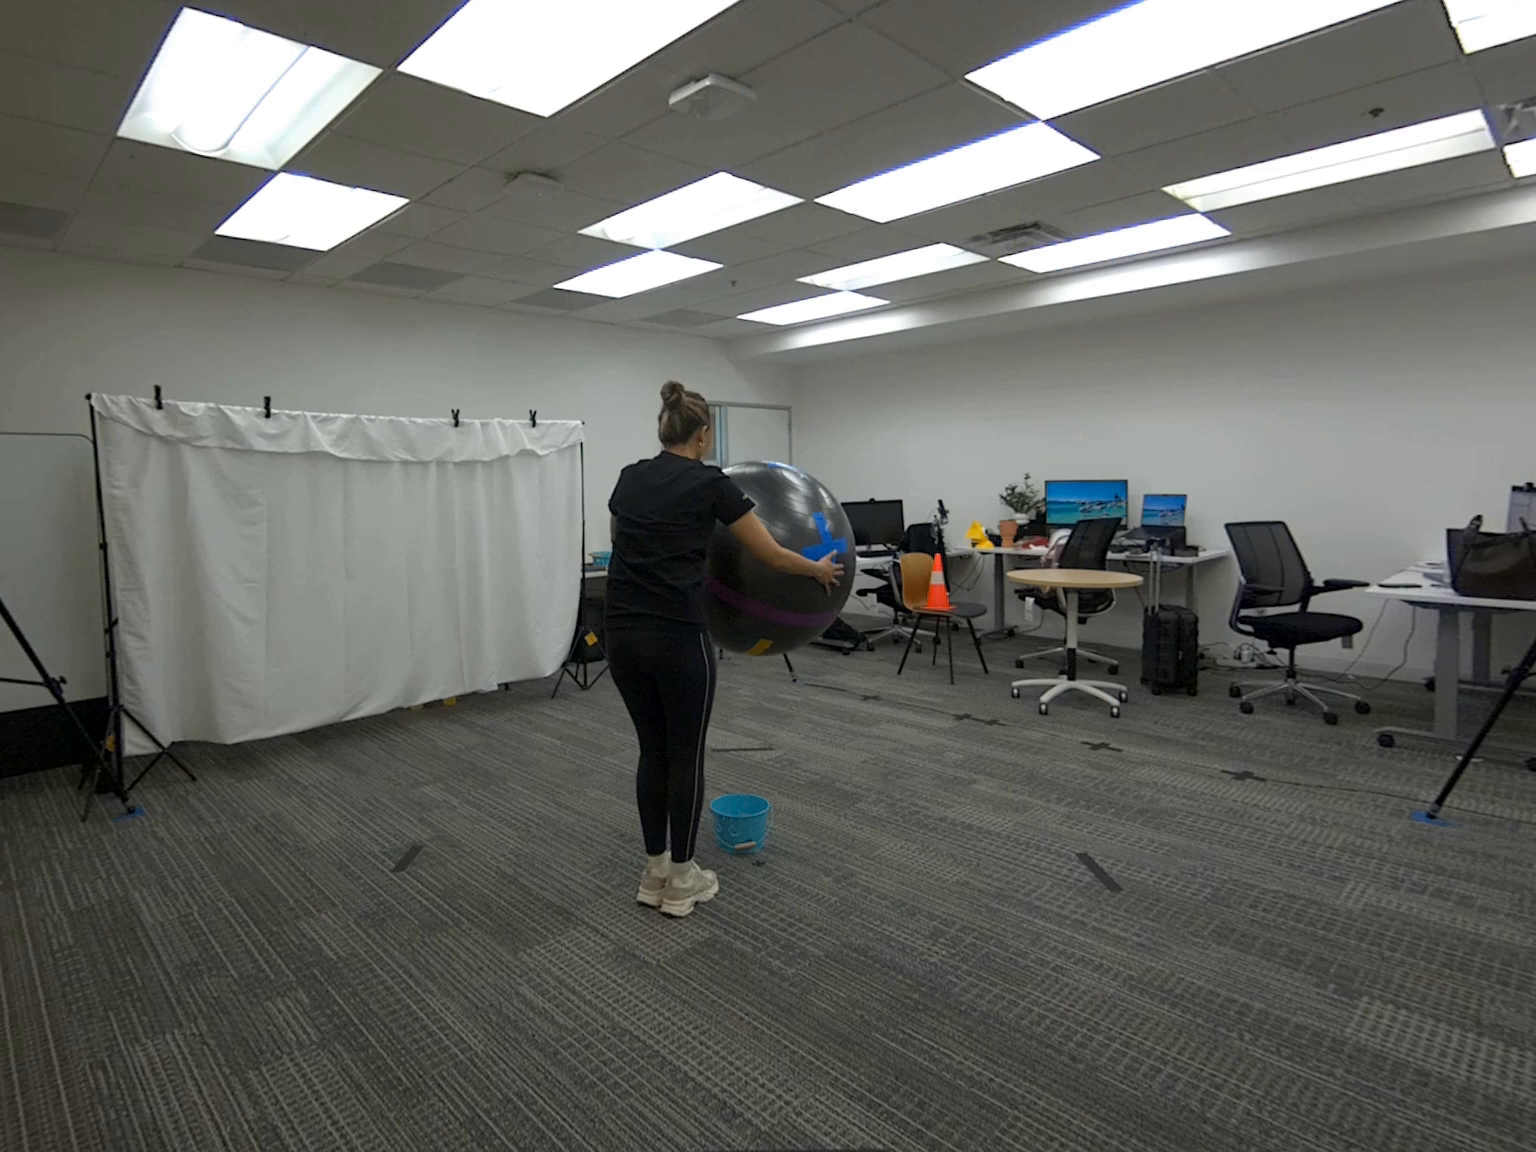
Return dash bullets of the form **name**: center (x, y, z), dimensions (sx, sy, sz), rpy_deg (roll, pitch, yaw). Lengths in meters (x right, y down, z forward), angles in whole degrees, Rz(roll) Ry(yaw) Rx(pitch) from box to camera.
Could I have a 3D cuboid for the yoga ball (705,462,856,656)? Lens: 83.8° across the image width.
- **yoga ball**: center (-0.036, -0.067, 3.347), dimensions (0.757, 0.755, 0.762), rpy_deg (-1, 5, -2)
